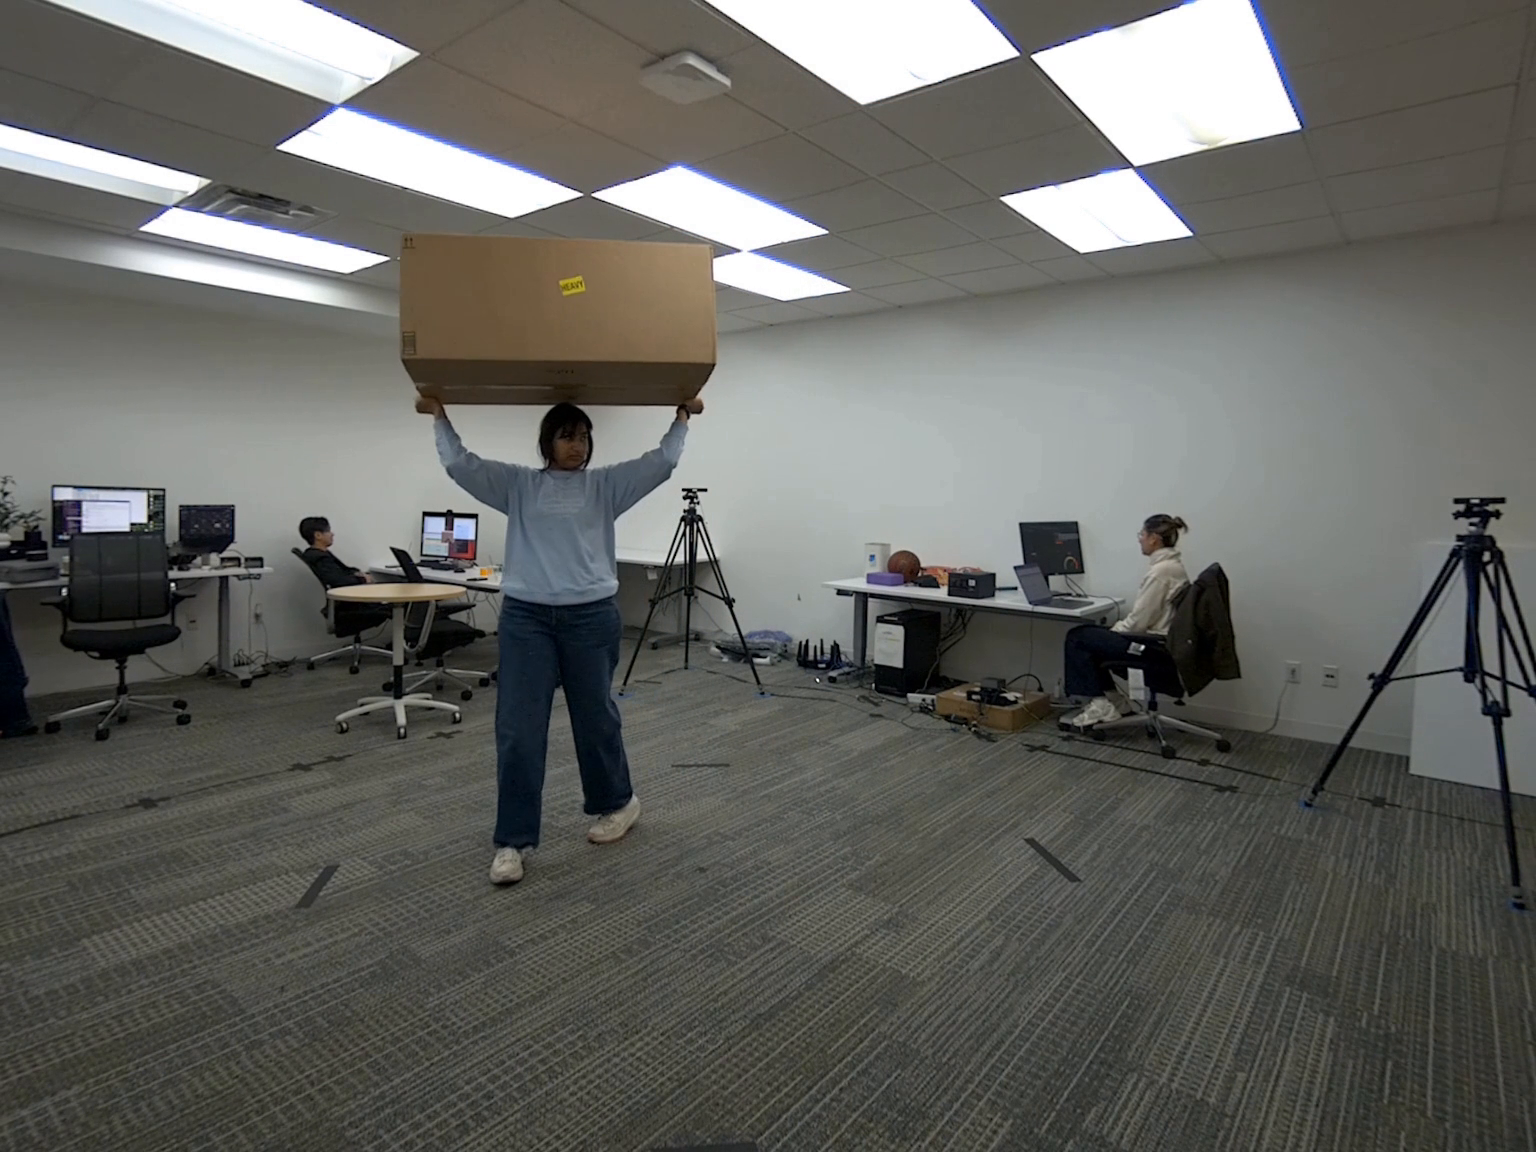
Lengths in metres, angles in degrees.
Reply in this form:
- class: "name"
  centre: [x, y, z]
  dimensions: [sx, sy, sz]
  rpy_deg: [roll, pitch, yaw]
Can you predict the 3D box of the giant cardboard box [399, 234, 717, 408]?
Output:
- class: "giant cardboard box"
  centre: [-0.757, -0.894, 3.072]
  dimensions: [1.015, 0.429, 0.581]
  rpy_deg: [-1, -4, -11]
